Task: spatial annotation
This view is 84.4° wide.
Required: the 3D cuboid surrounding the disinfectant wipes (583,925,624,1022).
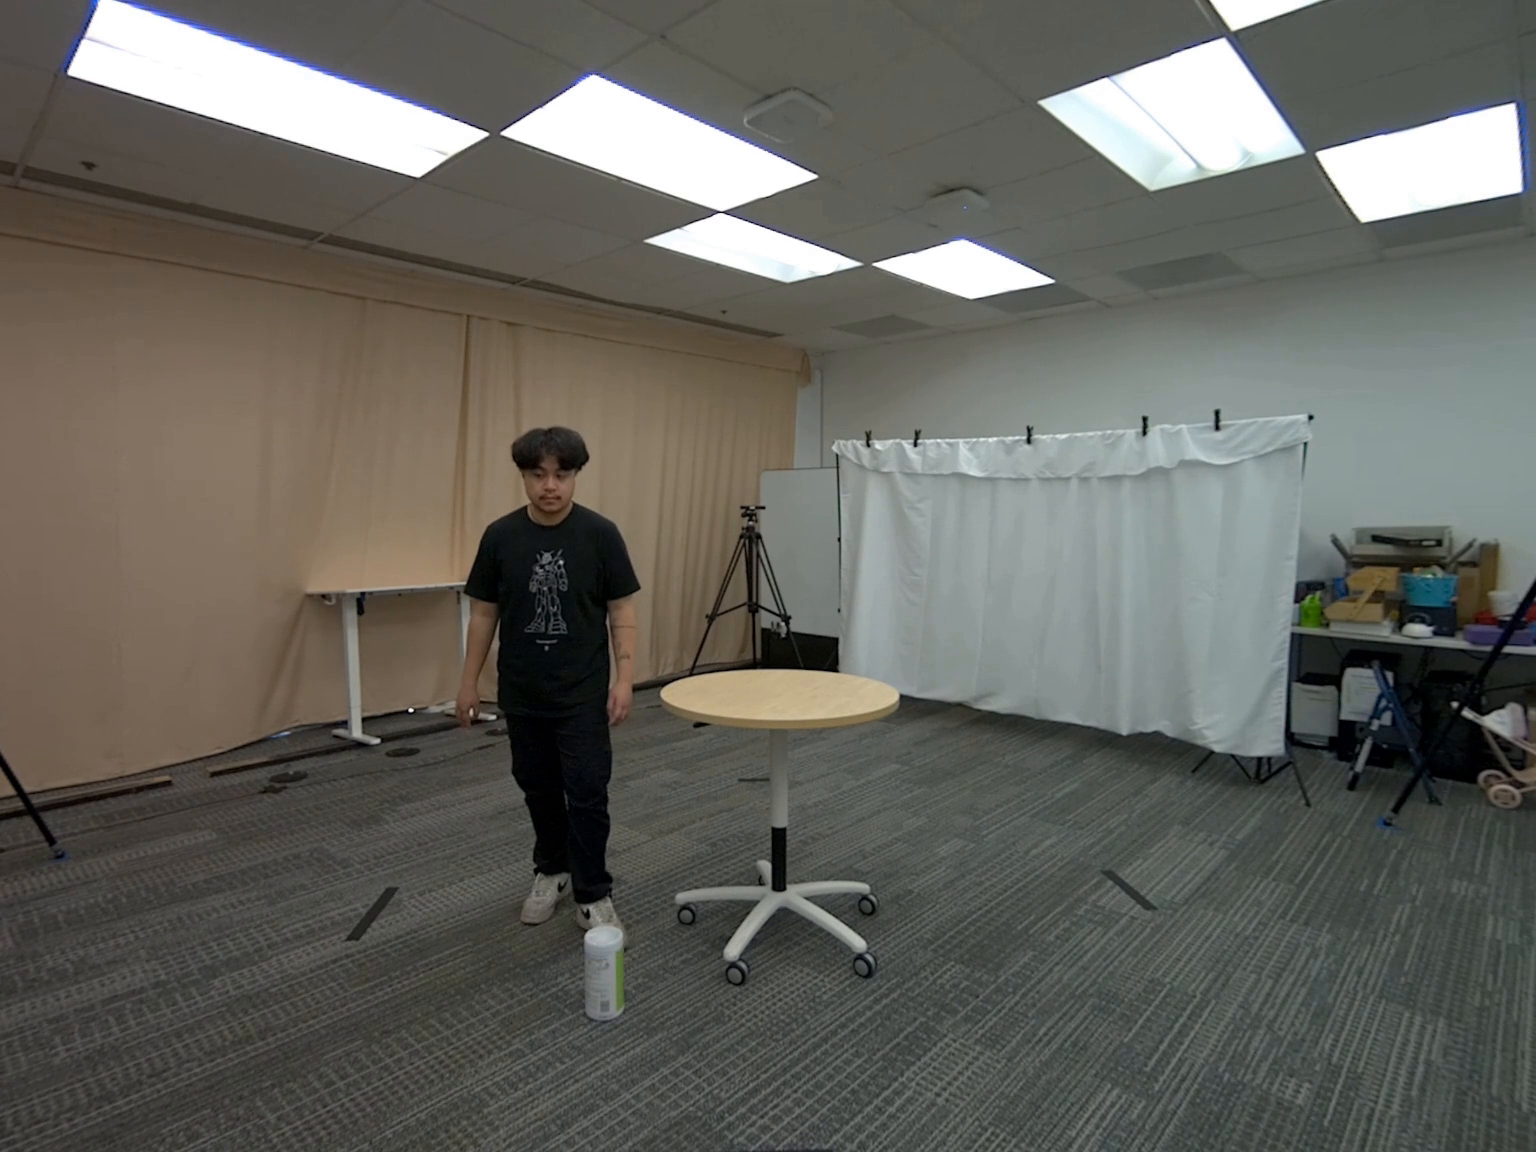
[{"bbox_3d":[-0.459,1.091,2.321,0.118,0.217,0.118,1,3,-2],"label":"disinfectant wipes"}]
